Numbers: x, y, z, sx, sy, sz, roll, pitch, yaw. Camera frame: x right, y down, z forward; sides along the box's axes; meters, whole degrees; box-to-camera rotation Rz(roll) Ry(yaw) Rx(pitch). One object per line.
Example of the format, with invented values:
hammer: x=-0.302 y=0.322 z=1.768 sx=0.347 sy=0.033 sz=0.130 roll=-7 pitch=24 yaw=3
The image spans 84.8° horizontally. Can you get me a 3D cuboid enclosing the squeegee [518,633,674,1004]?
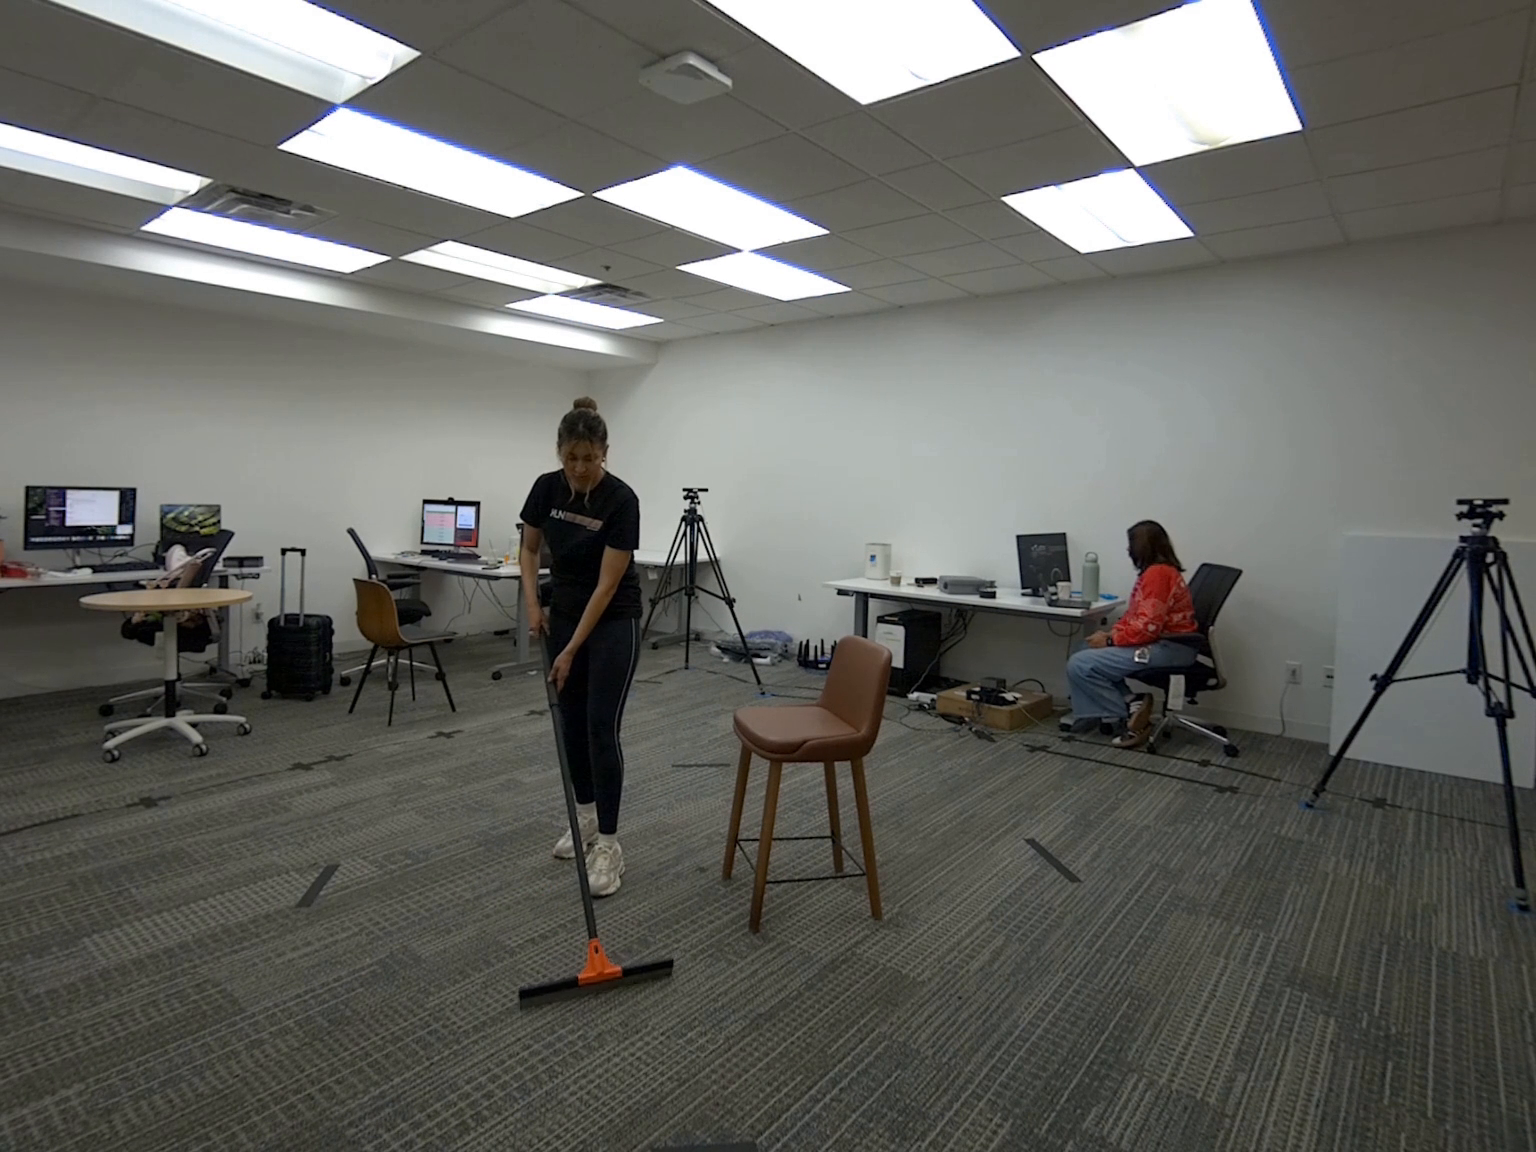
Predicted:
squeegee: x=-0.721 y=0.507 z=2.798 sx=0.427 sy=1.596 sz=0.052 roll=-2 pitch=-41 yaw=-26
